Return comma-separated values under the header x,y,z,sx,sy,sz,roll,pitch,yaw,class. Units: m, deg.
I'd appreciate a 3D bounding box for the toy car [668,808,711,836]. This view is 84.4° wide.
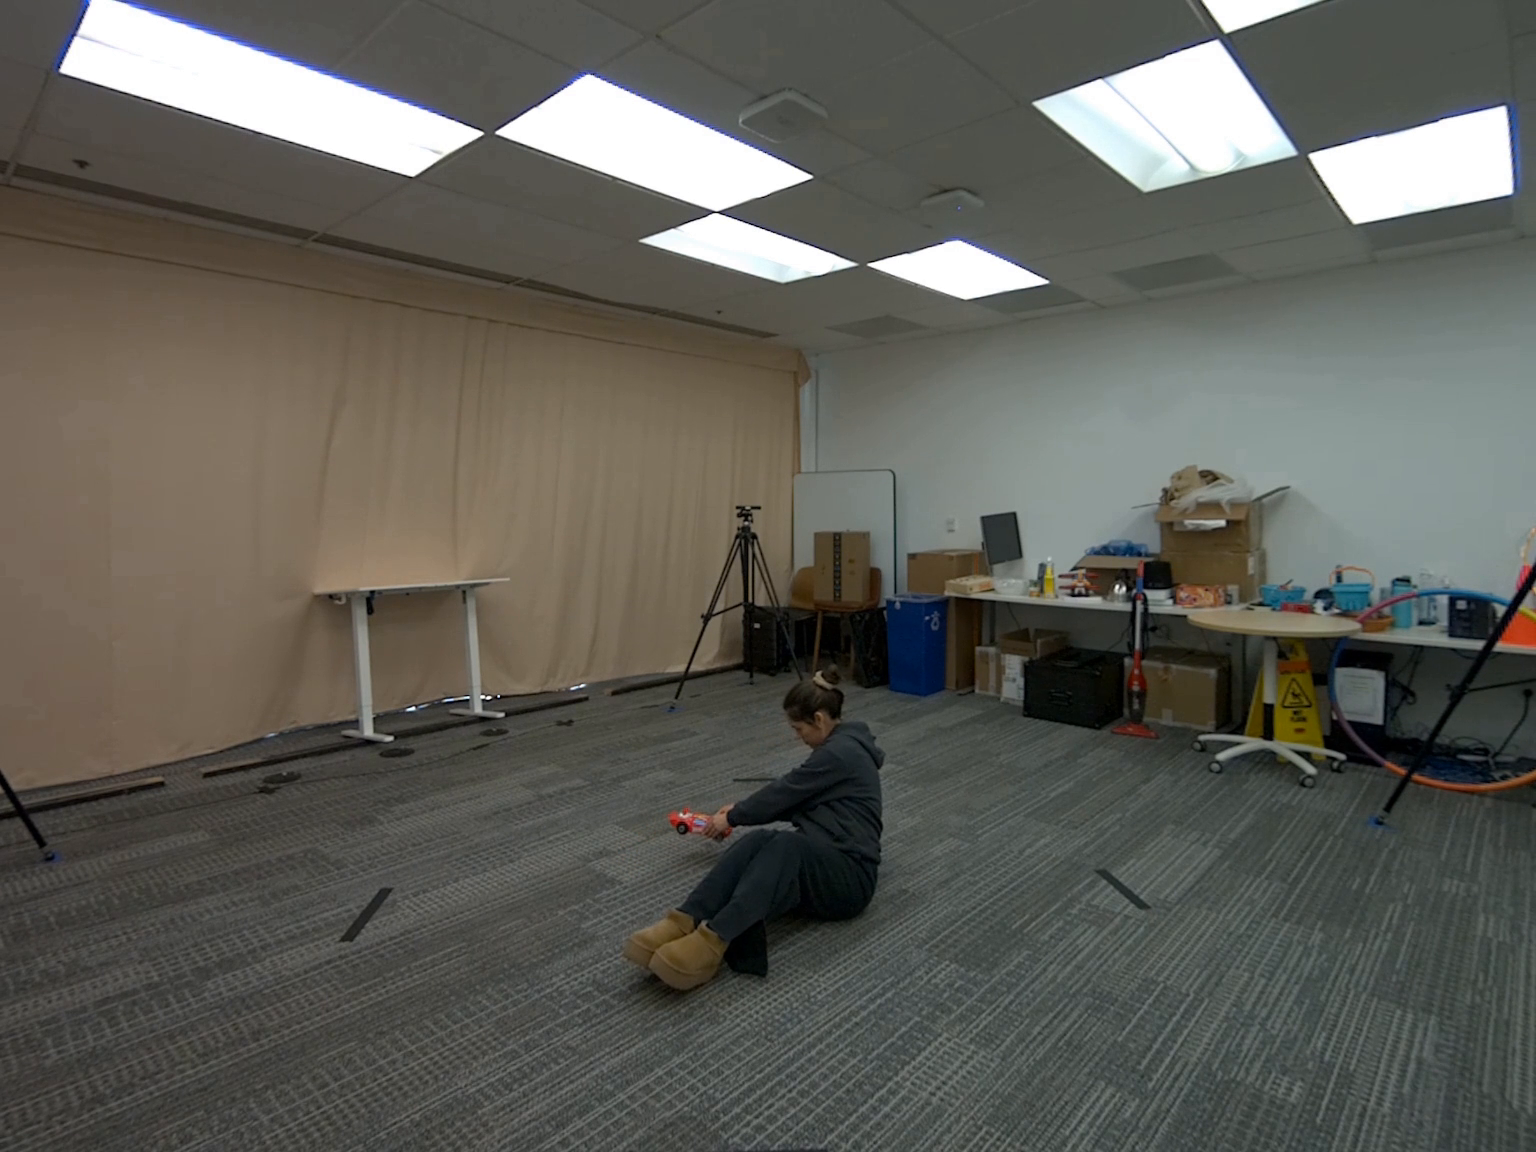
x,y,z,sx,sy,sz,roll,pitch,yaw,class
-0.248,0.988,3.308,0.260,0.083,0.127,18,1,18,toy car
